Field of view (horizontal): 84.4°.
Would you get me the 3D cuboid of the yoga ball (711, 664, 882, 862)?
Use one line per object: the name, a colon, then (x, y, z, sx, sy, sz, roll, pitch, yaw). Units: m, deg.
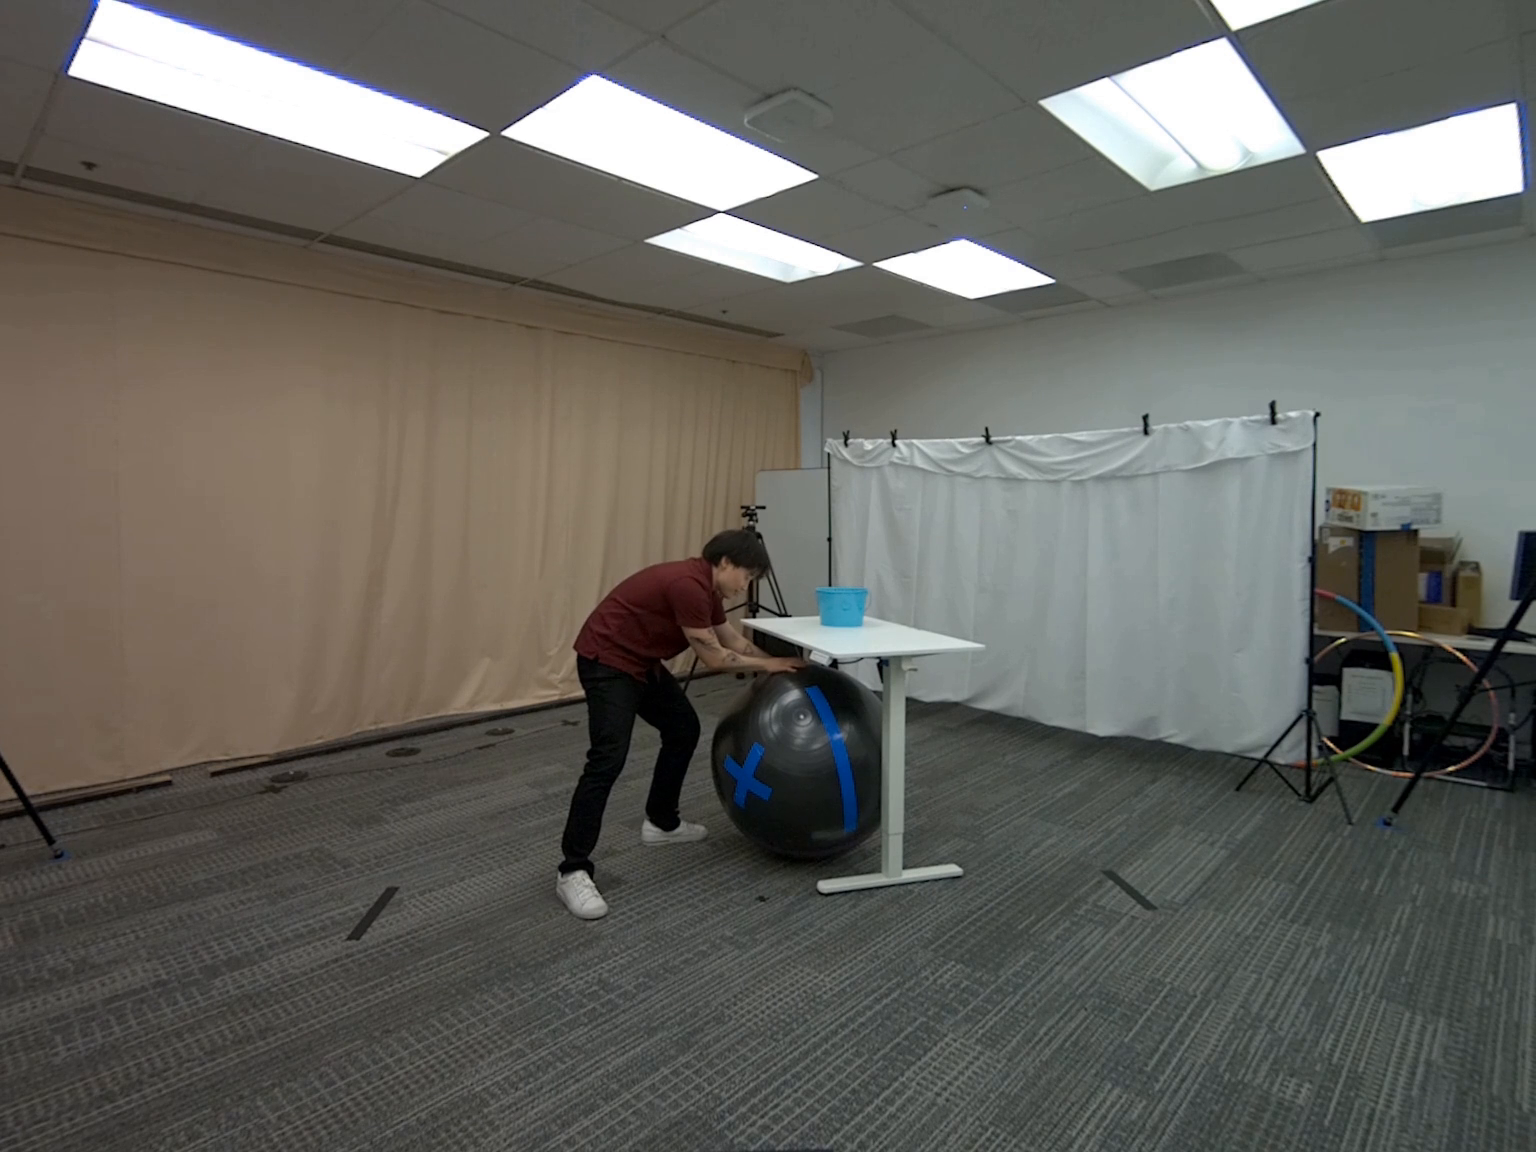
yoga ball: (0.163, 0.745, 3.381, 0.757, 0.756, 0.760, 0, 4, -2)
